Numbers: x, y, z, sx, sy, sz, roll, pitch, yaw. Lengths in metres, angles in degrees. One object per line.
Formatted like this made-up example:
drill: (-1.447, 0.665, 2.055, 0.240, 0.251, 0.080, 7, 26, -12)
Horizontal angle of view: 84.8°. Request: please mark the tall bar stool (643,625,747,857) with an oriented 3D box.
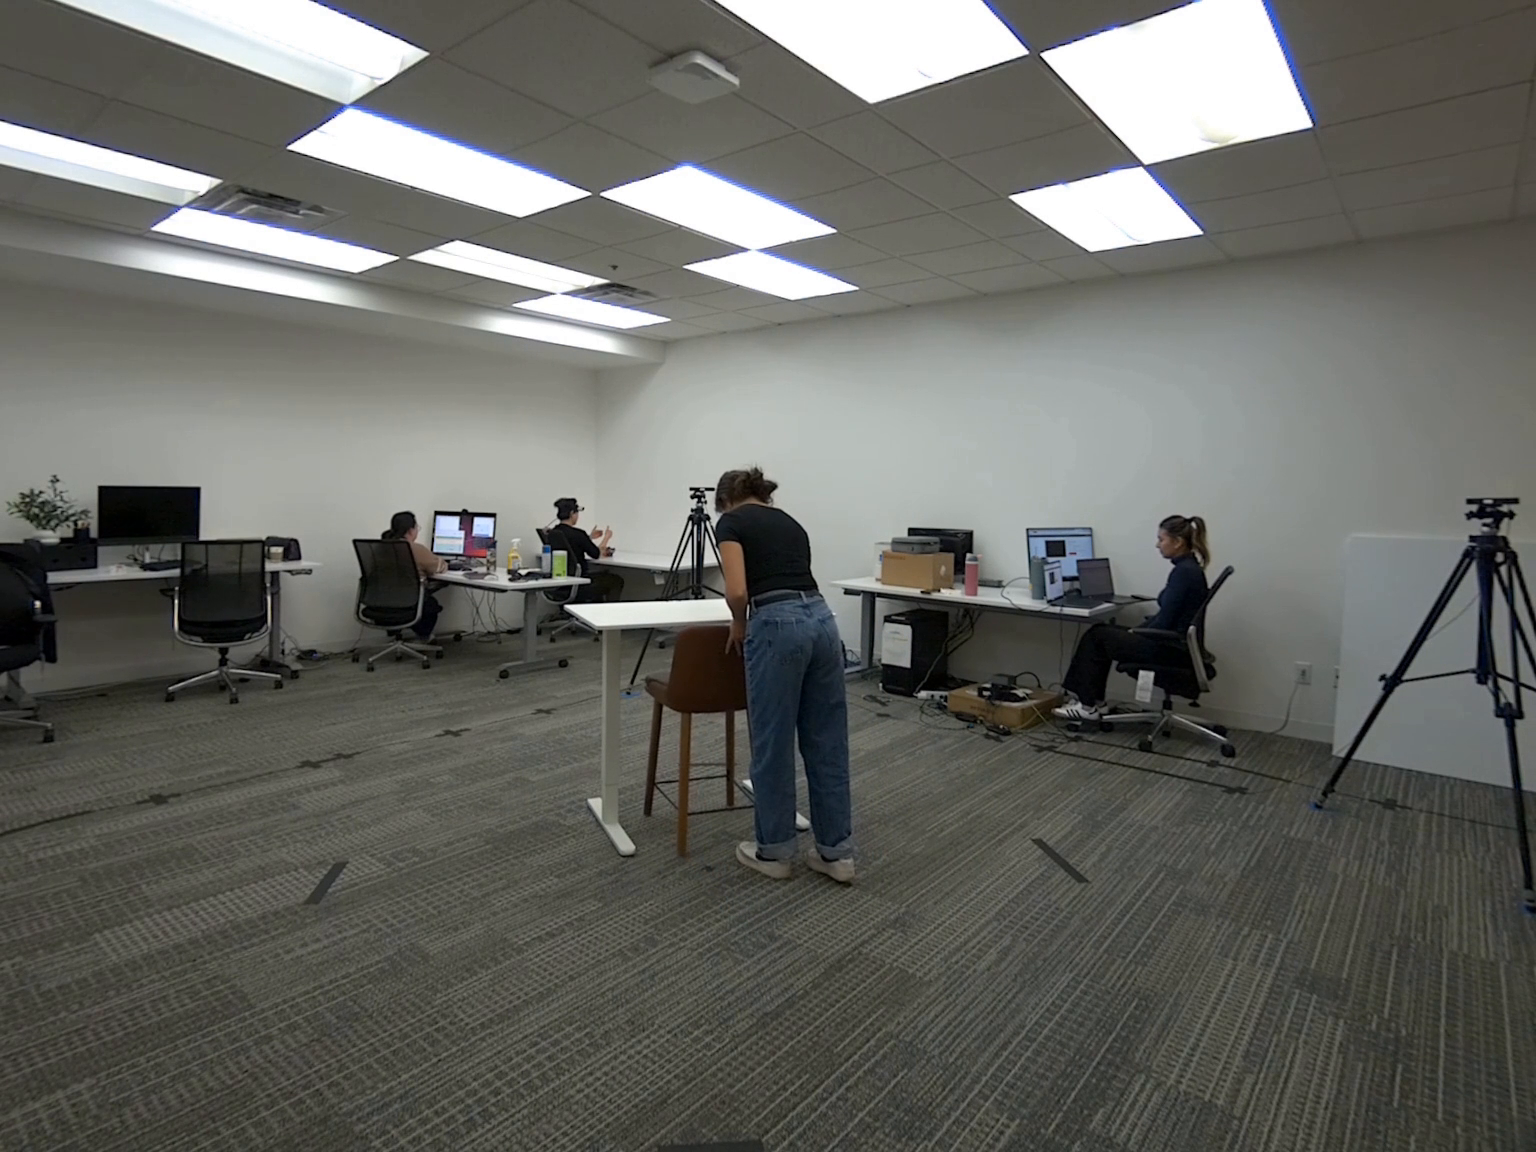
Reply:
tall bar stool: (-0.256, 0.602, 3.452, 0.446, 0.886, 0.480, 0, 5, -23)
